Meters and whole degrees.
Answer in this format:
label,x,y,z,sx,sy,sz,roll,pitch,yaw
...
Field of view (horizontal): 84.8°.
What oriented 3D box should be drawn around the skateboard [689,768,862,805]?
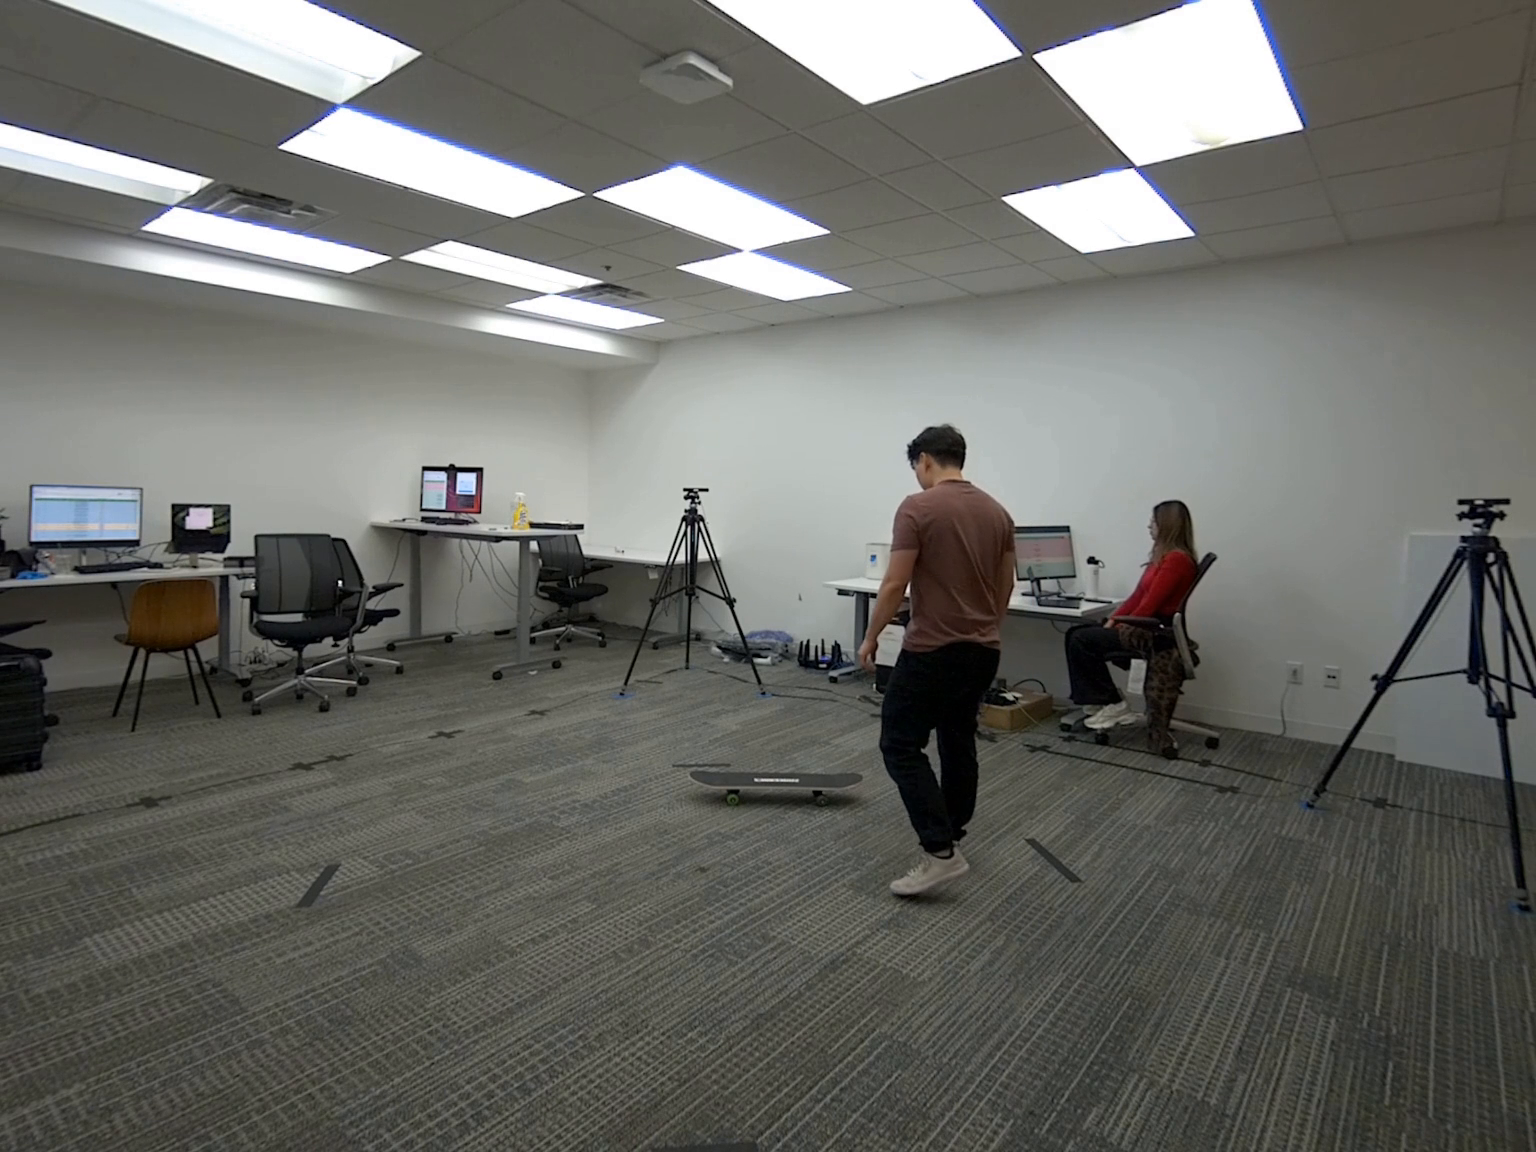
label,x,y,z,sx,sy,sz,roll,pitch,yaw
skateboard,0.030,0.948,3.837,0.785,0.110,0.194,1,6,0
